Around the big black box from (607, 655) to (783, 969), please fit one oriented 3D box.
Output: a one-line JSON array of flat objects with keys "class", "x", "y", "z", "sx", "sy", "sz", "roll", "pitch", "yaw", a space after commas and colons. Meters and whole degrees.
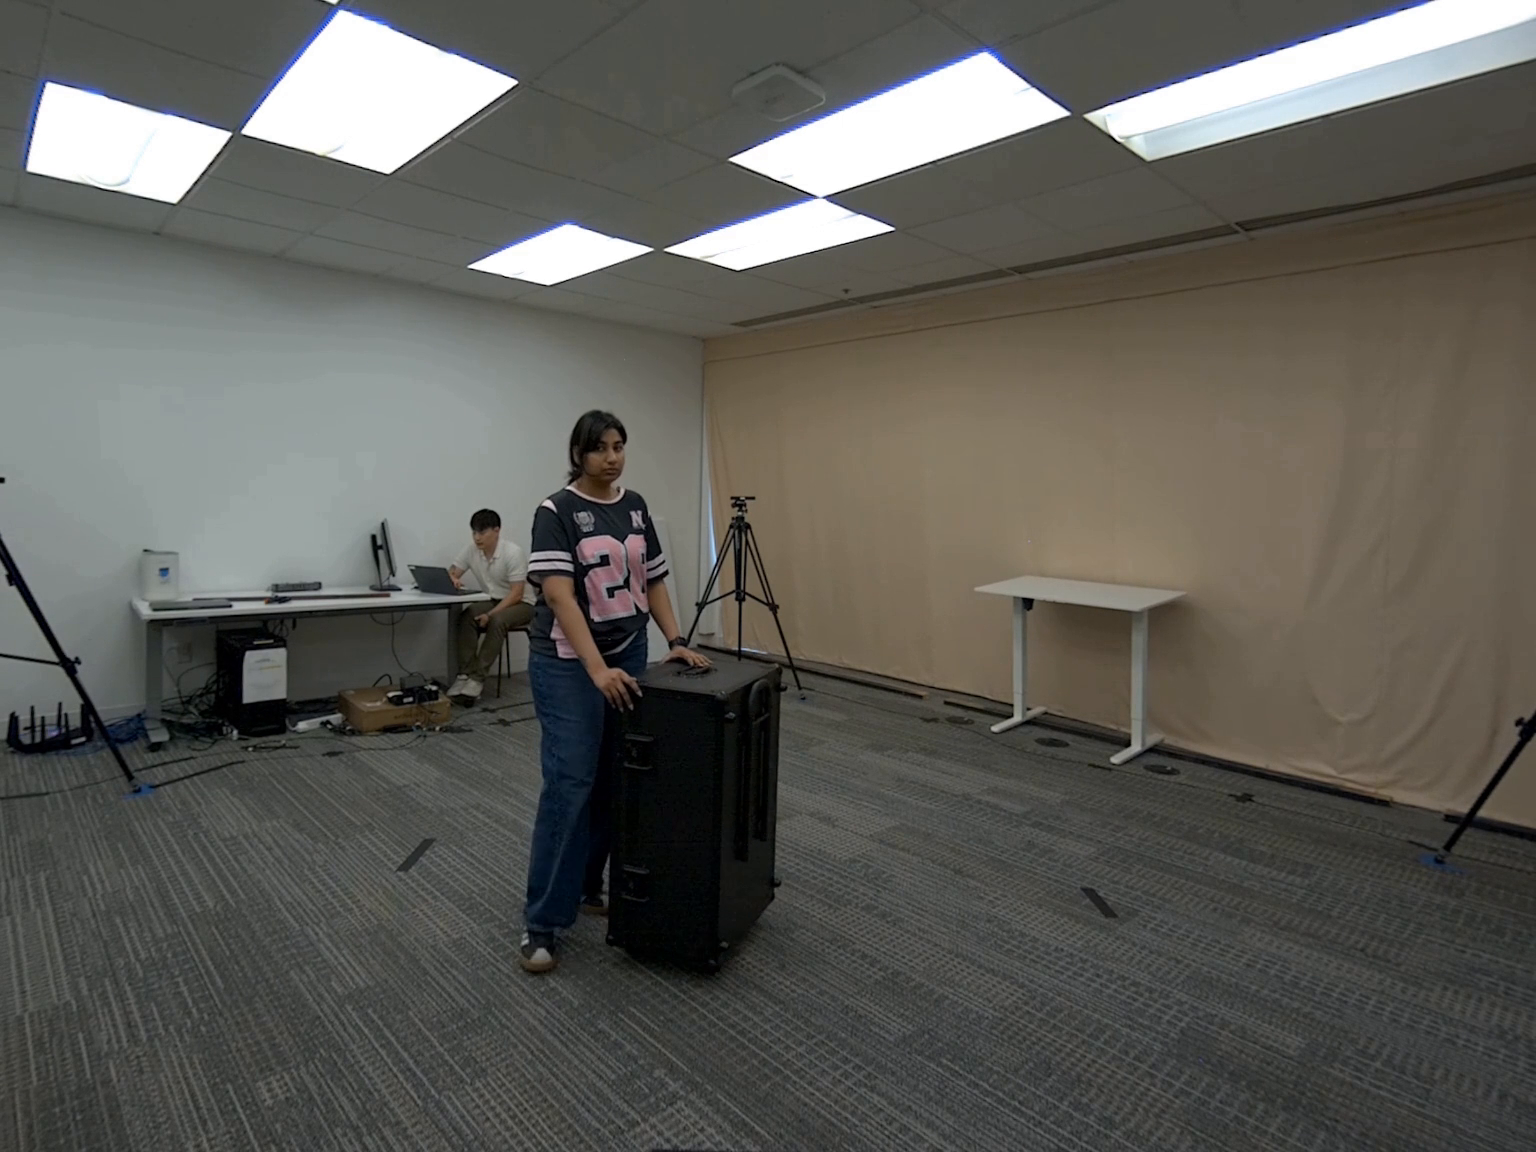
[{"class": "big black box", "x": -0.213, "y": 0.723, "z": 2.606, "sx": 0.391, "sy": 0.866, "sz": 0.516, "roll": 3, "pitch": 4, "yaw": 19}]
